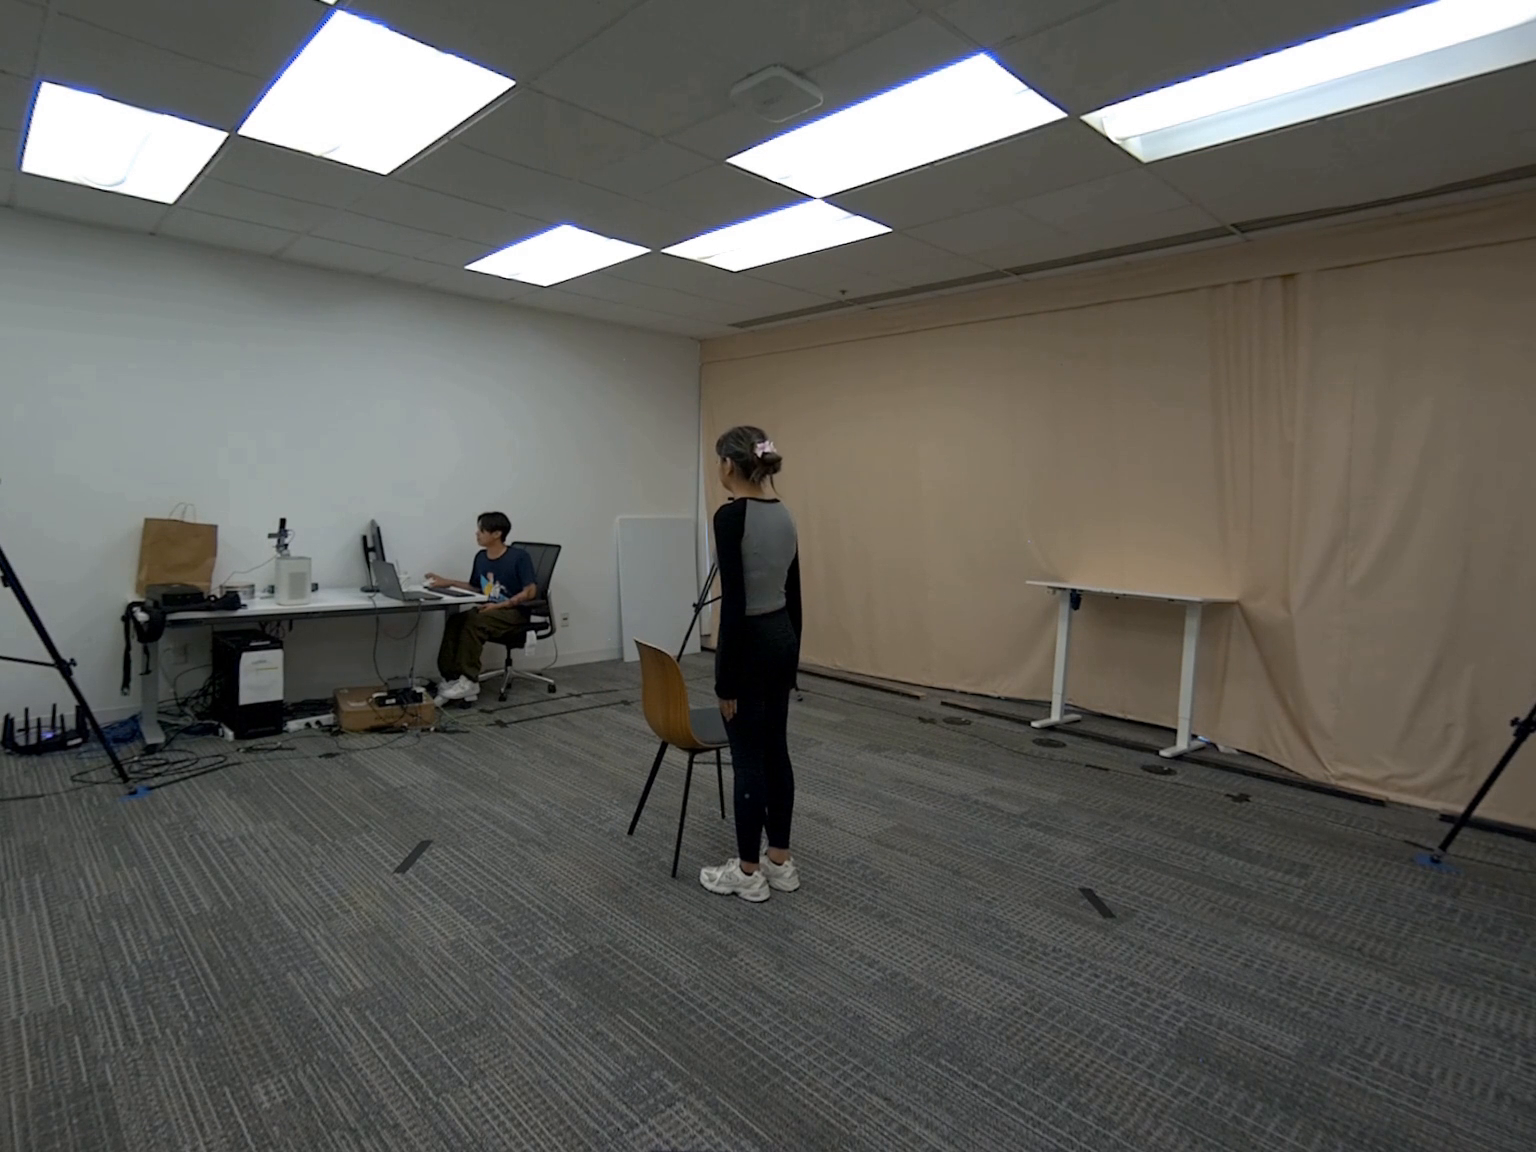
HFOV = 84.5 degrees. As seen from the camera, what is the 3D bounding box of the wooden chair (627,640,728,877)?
[{"bbox_3d":[-0.259,0.655,3.356,0.513,0.874,0.489,-5,6,-30],"label":"wooden chair"}]
